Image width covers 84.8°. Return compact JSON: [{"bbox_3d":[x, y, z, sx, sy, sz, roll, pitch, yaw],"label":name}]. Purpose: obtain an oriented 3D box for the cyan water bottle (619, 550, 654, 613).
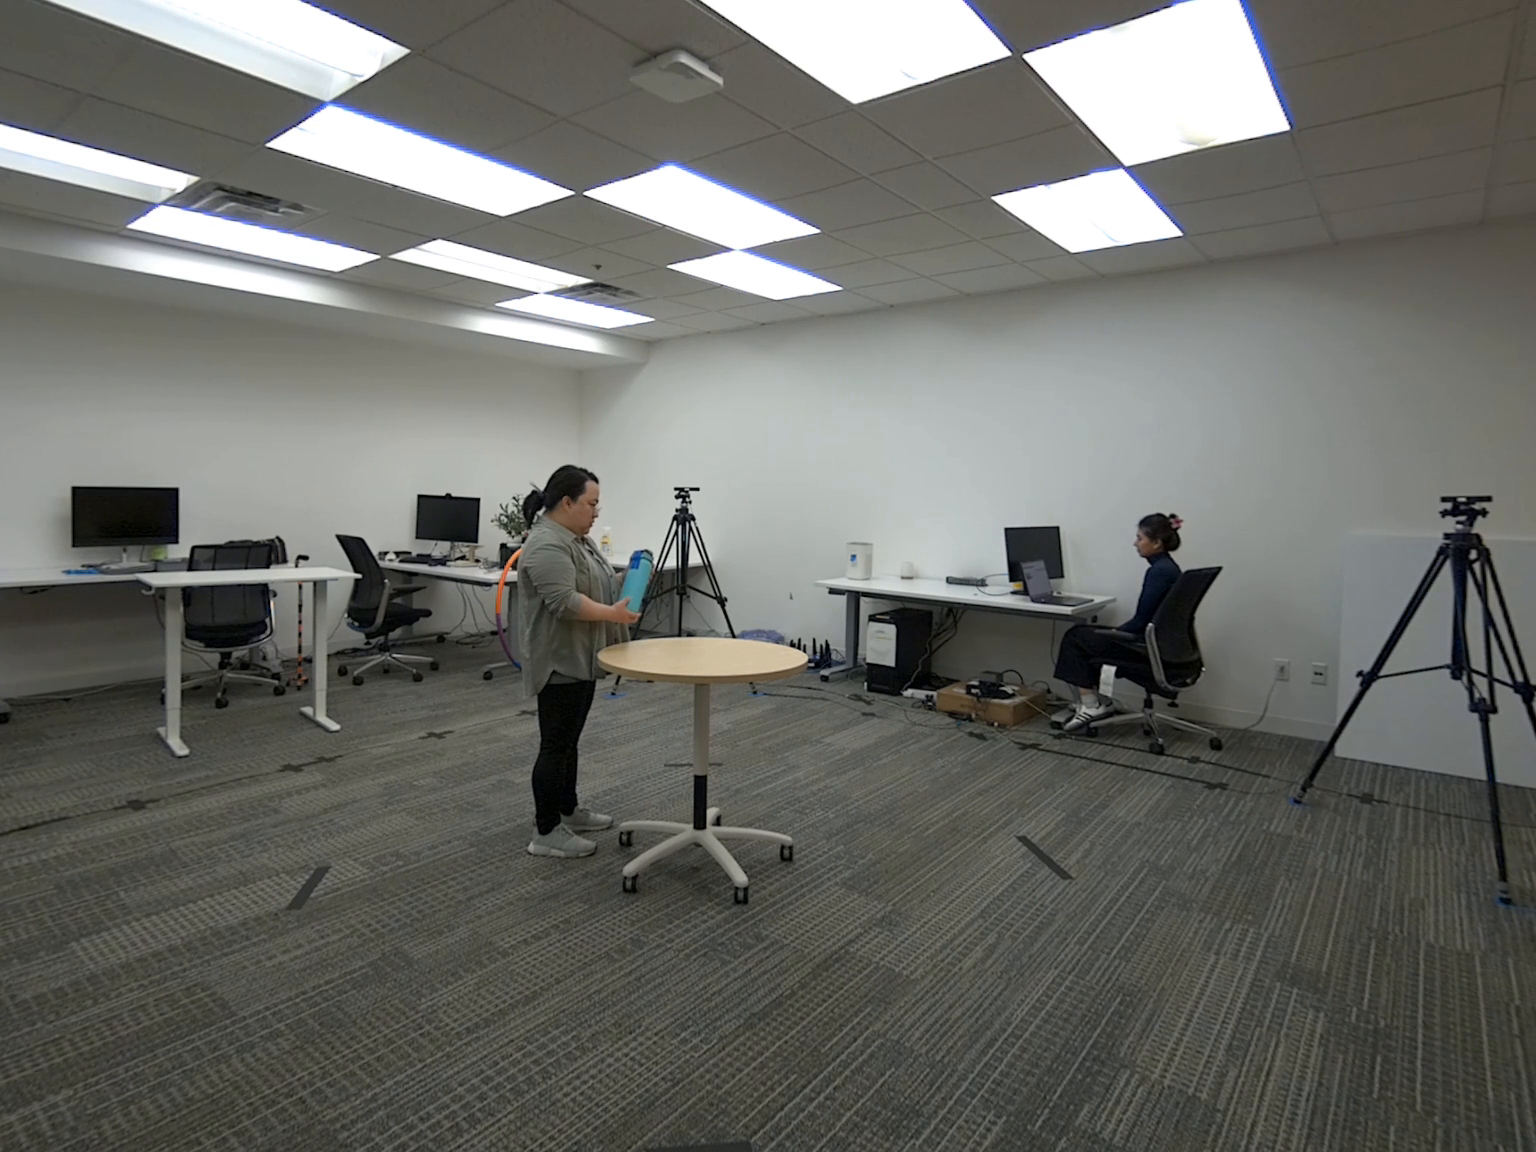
[{"bbox_3d":[-0.539,0.024,3.356,0.093,0.287,0.090,12,-21,3],"label":"cyan water bottle"}]
